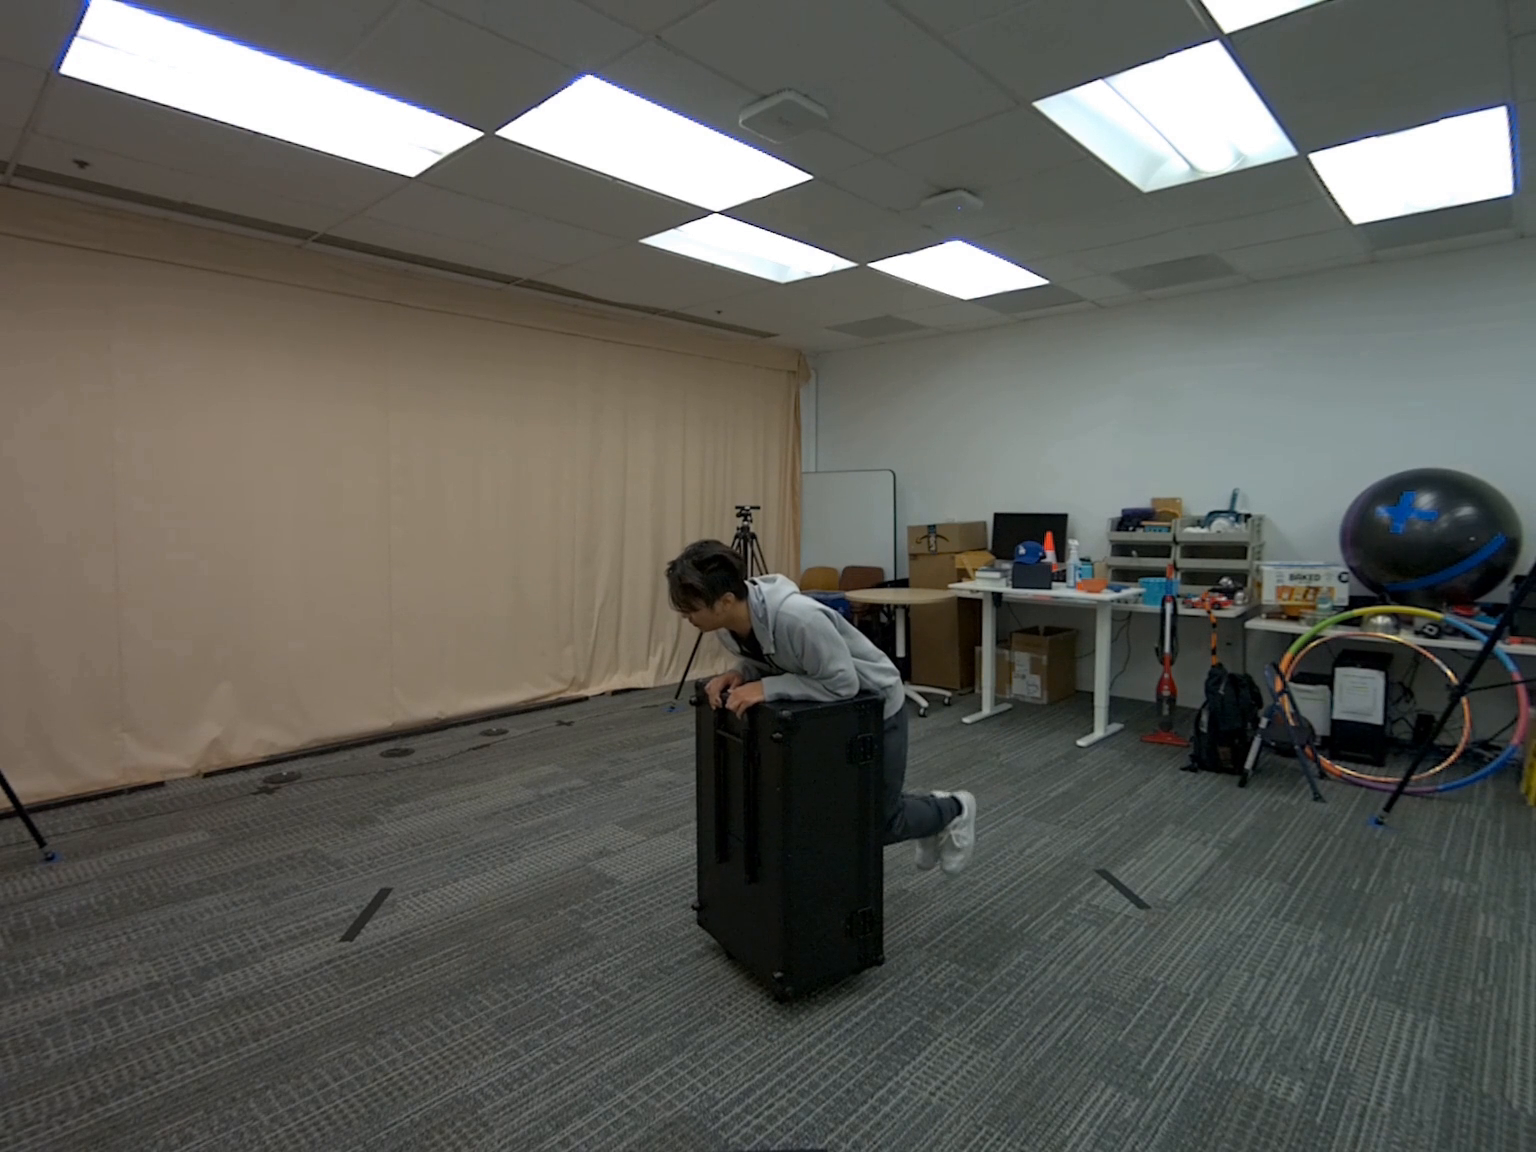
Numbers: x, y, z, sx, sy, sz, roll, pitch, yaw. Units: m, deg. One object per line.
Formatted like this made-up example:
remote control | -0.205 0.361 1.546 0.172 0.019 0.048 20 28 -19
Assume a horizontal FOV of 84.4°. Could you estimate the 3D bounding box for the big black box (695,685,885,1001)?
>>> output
big black box | 0.053 0.765 2.515 0.385 0.859 0.537 -4 5 -33
